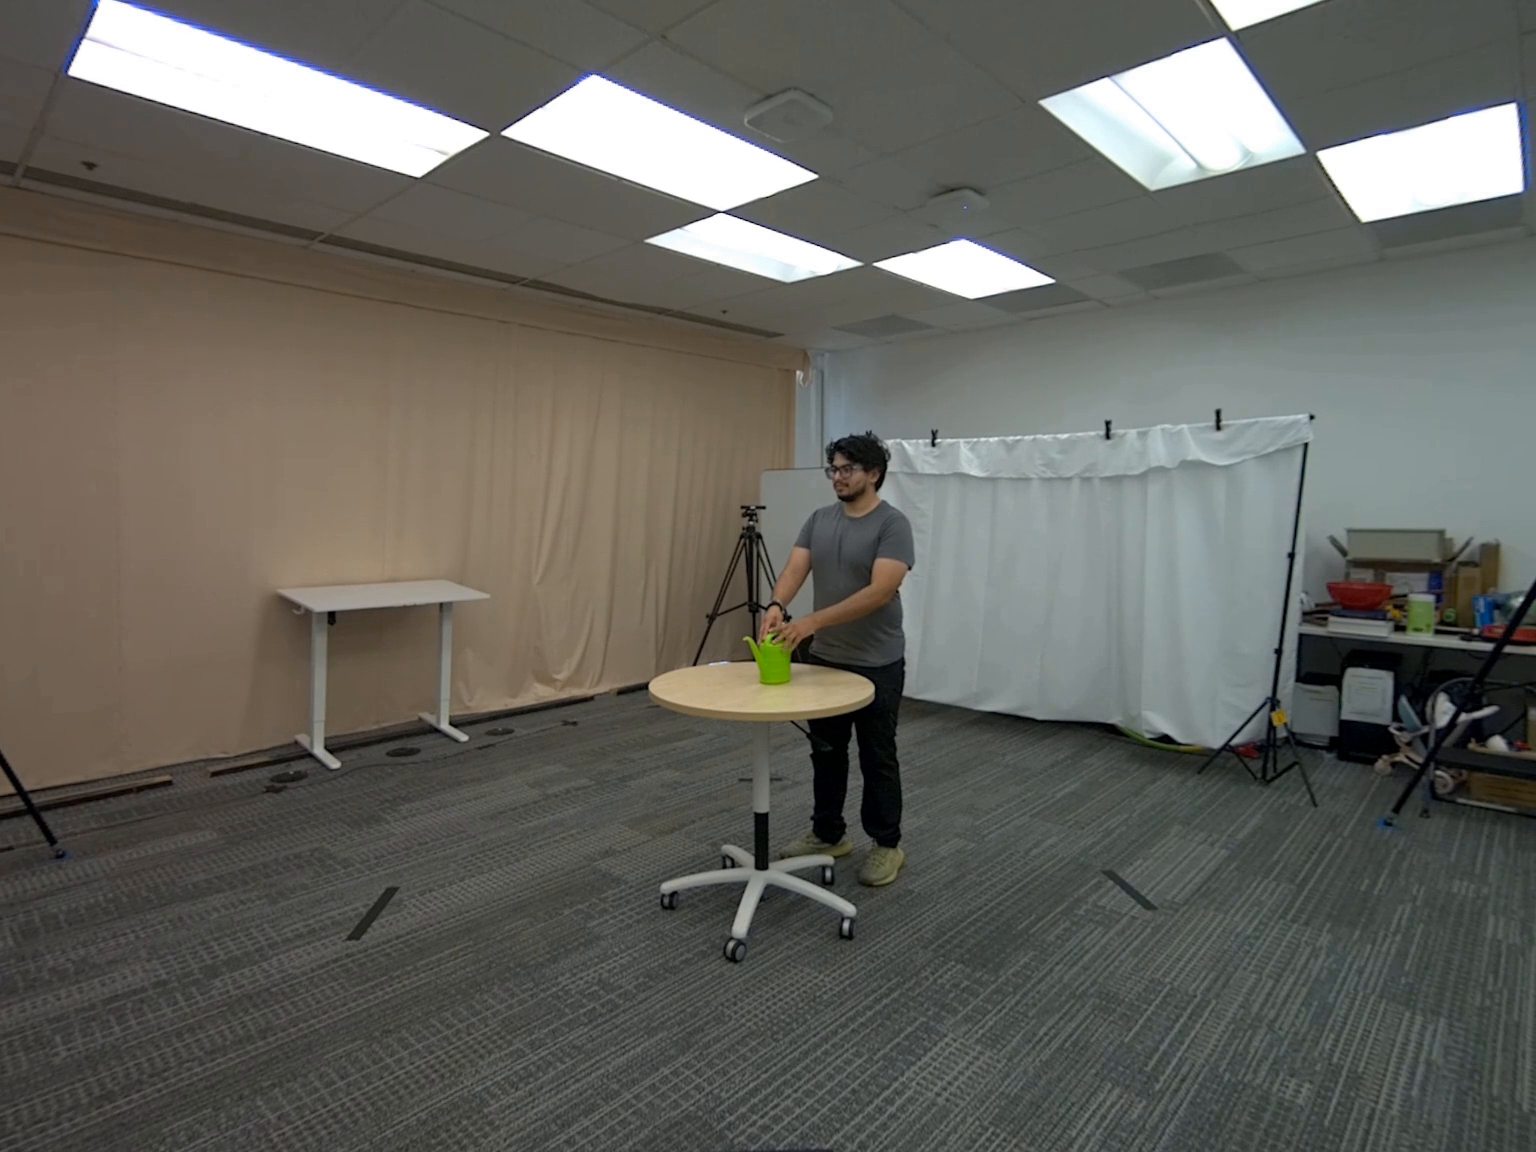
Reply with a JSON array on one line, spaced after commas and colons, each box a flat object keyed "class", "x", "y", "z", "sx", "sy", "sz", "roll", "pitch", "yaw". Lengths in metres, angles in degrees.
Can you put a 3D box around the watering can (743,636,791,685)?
[{"class": "watering can", "x": -0.001, "y": 0.283, "z": 2.883, "sx": 0.269, "sy": 0.176, "sz": 0.101, "roll": -1, "pitch": 3, "yaw": -44}]
